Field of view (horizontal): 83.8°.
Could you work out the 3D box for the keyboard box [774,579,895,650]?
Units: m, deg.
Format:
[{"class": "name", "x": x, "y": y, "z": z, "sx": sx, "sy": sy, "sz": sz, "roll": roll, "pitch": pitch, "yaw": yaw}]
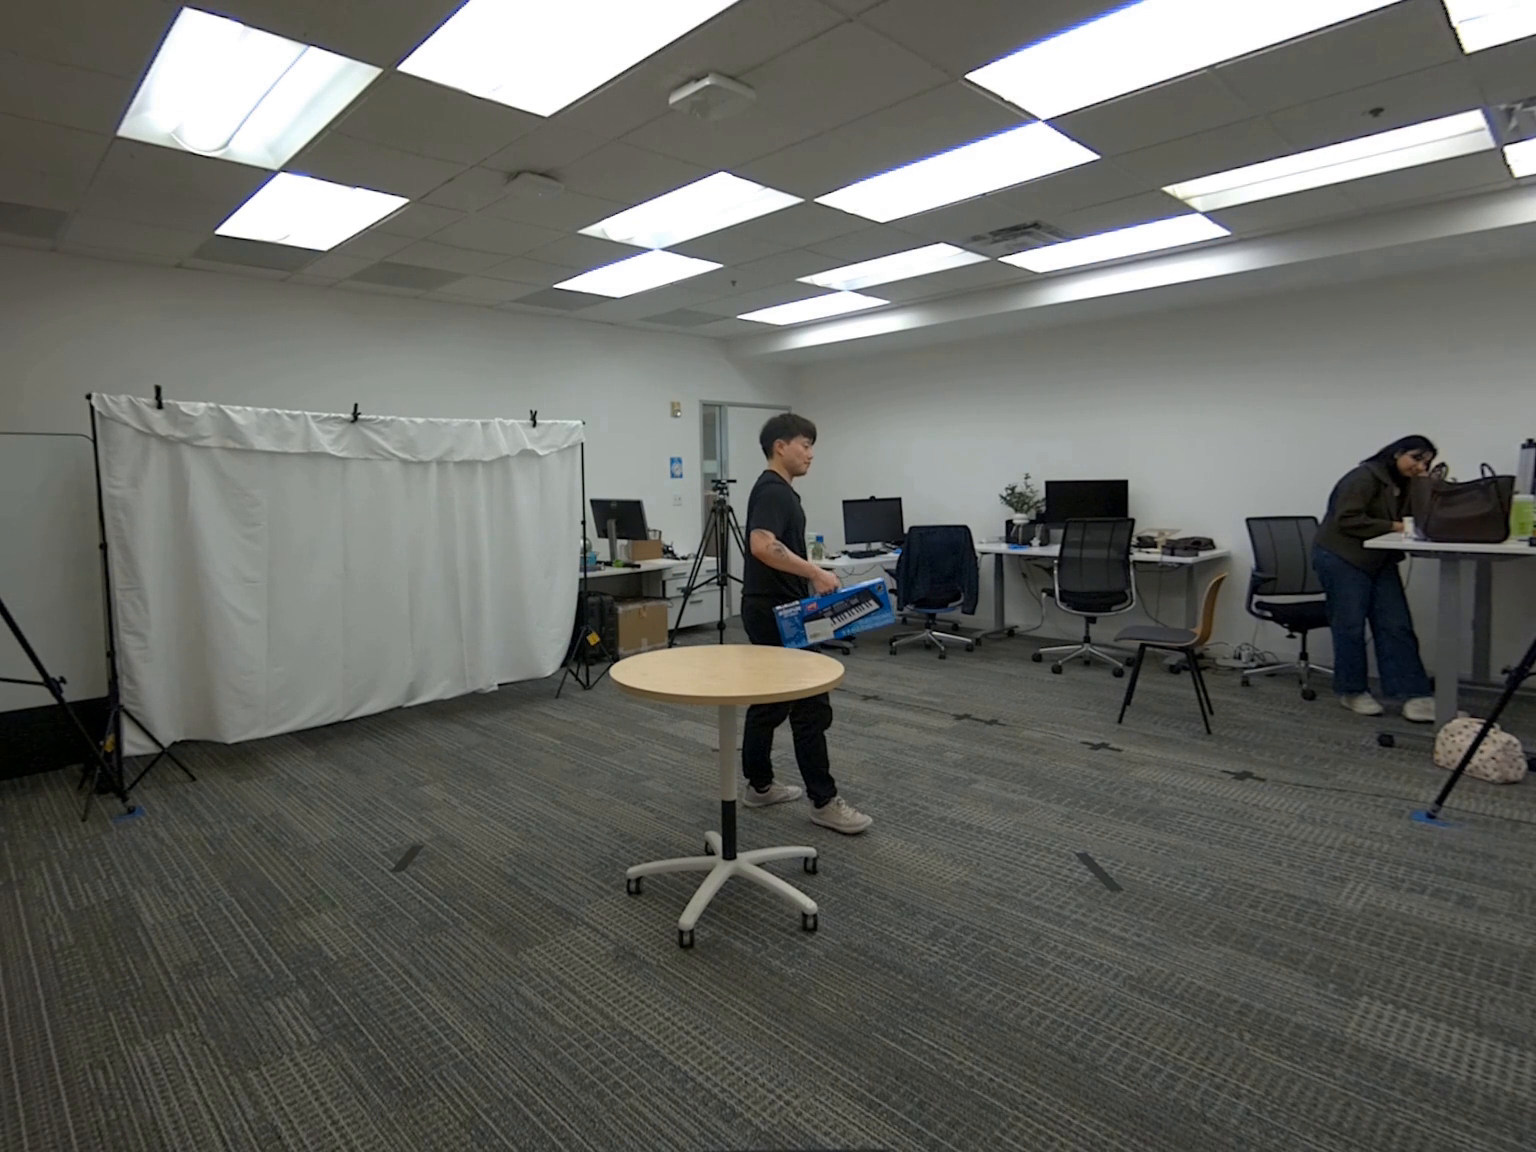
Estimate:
[{"class": "keyboard box", "x": 0.261, "y": 0.151, "z": 3.284, "sx": 0.436, "sy": 0.175, "sz": 0.059, "roll": -16, "pitch": 6, "yaw": -1}]
